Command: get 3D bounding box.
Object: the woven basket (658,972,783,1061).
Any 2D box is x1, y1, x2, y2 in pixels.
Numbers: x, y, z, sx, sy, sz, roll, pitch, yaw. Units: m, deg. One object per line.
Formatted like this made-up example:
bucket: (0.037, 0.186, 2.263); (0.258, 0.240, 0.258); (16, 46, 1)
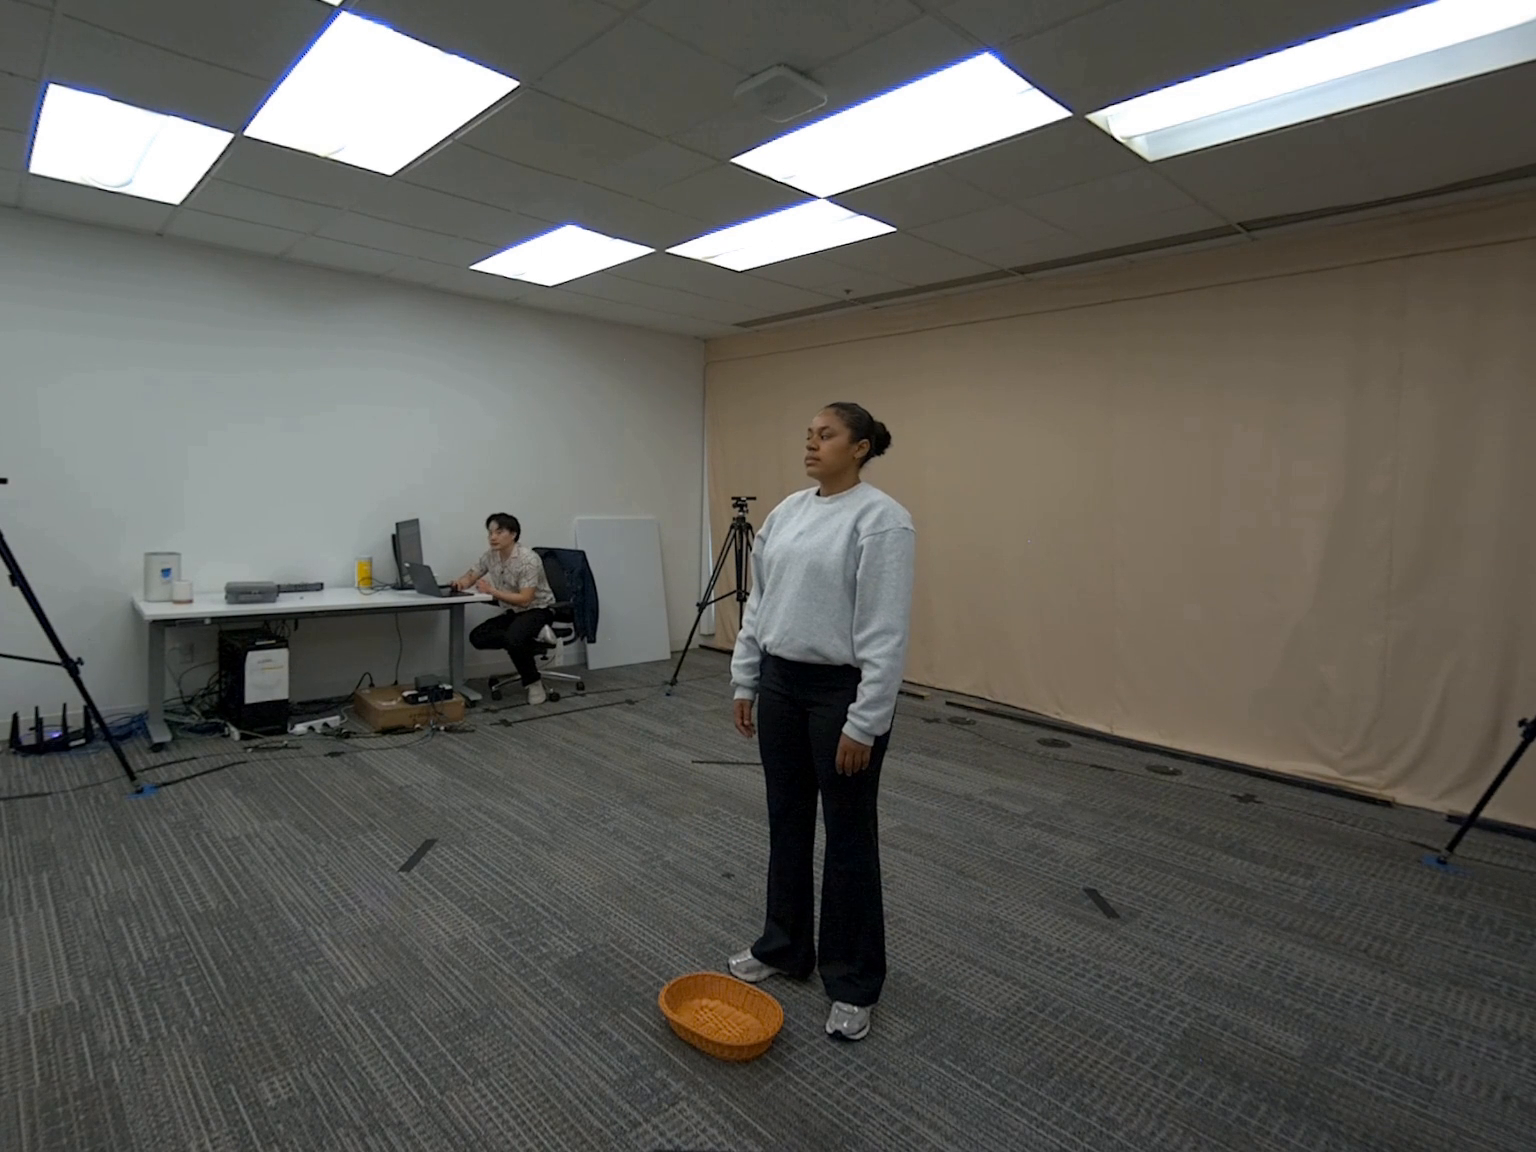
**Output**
woven basket: (-0.129, 1.153, 2.198); (0.359, 0.073, 0.247); (5, 6, 38)
